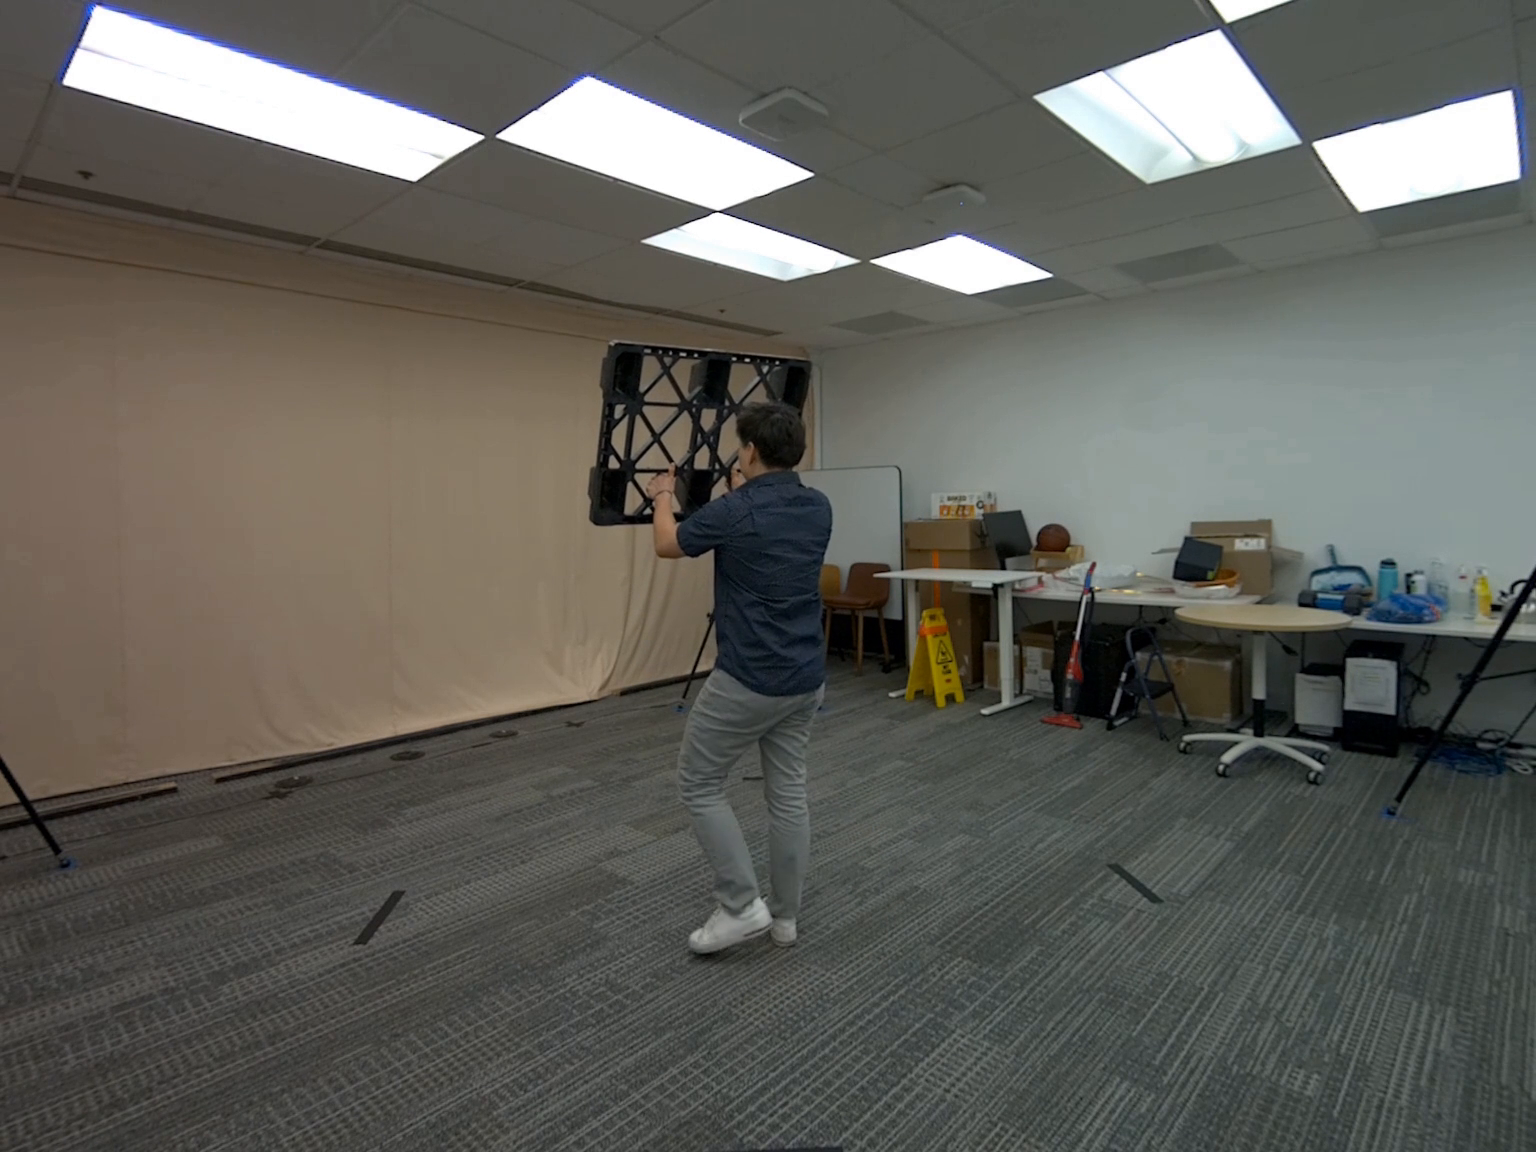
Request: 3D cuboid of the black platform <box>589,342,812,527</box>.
[{"bbox_3d":[-0.240,-0.493,2.933,0.783,0.600,0.148,-4,22,-34],"label":"black platform"}]
